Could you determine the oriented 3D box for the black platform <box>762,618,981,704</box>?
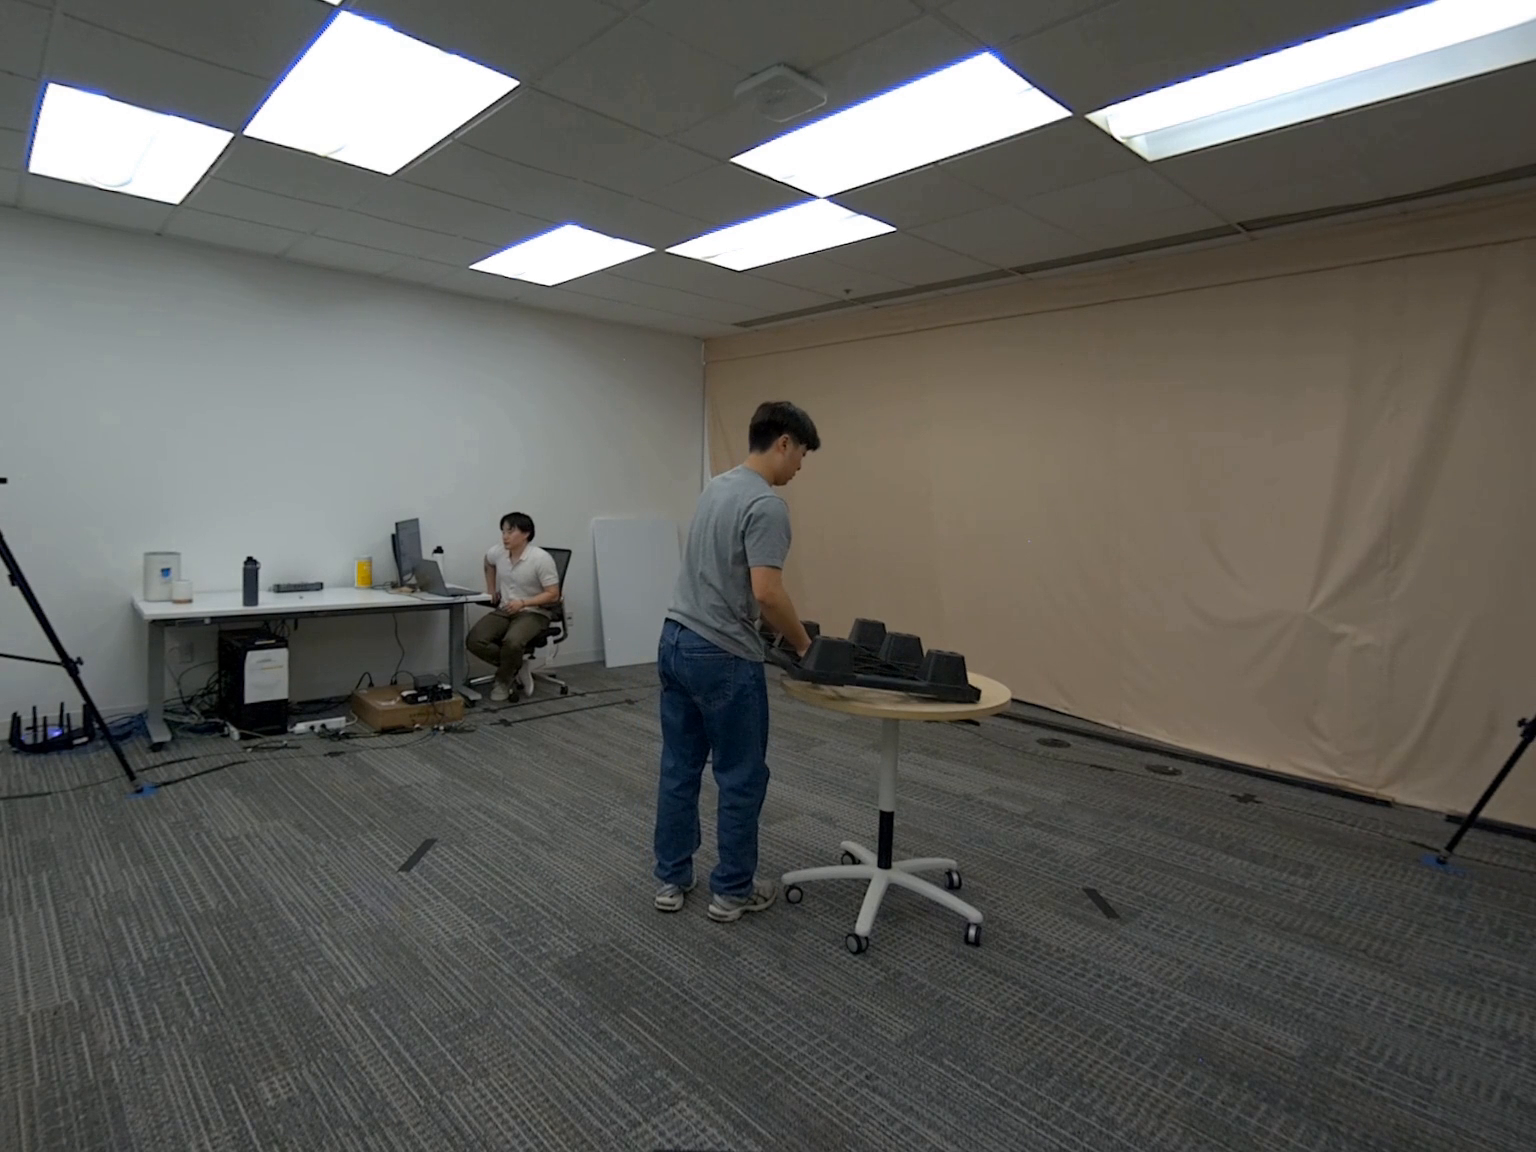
[{"bbox_3d":[0.278,0.245,2.915,0.599,0.143,0.816,8,3,-13],"label":"black platform"}]
